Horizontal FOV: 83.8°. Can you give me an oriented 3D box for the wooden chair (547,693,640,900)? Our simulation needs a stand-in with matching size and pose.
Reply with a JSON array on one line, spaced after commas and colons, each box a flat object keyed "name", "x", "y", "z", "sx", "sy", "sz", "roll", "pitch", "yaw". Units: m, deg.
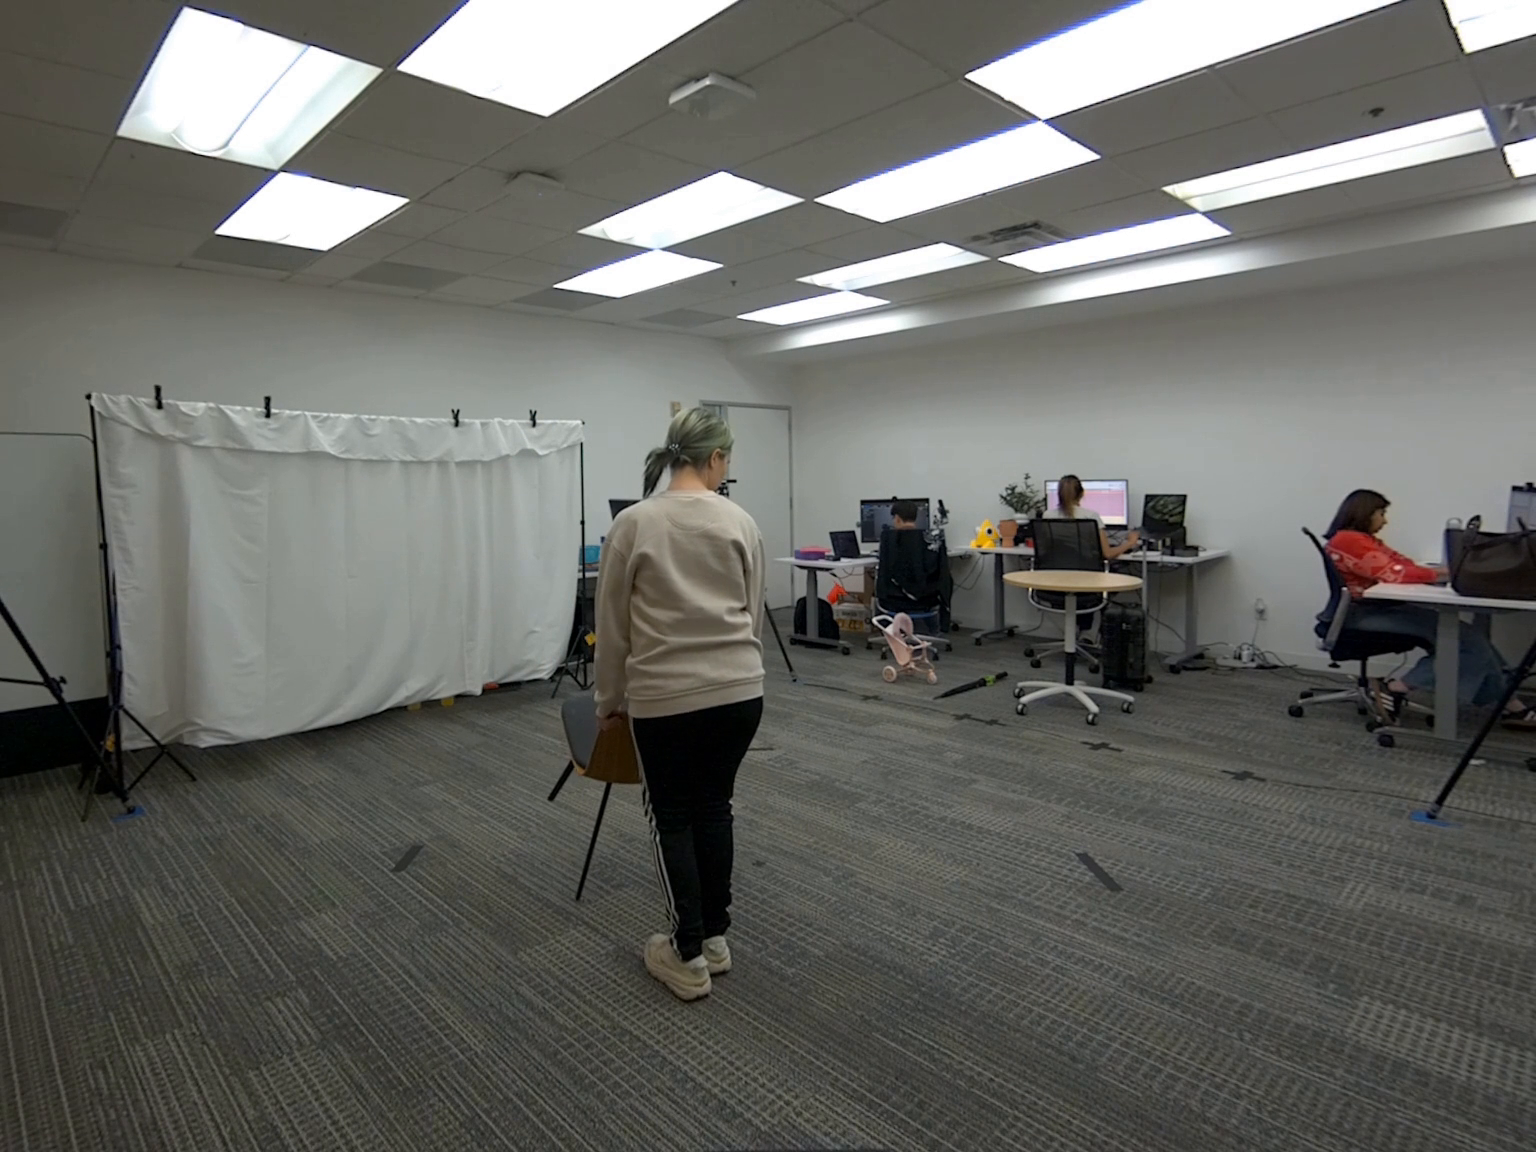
[{"name": "wooden chair", "x": -0.452, "y": 0.588, "z": 2.928, "sx": 0.468, "sy": 0.862, "sz": 0.543, "roll": -3, "pitch": 37, "yaw": -25}]
